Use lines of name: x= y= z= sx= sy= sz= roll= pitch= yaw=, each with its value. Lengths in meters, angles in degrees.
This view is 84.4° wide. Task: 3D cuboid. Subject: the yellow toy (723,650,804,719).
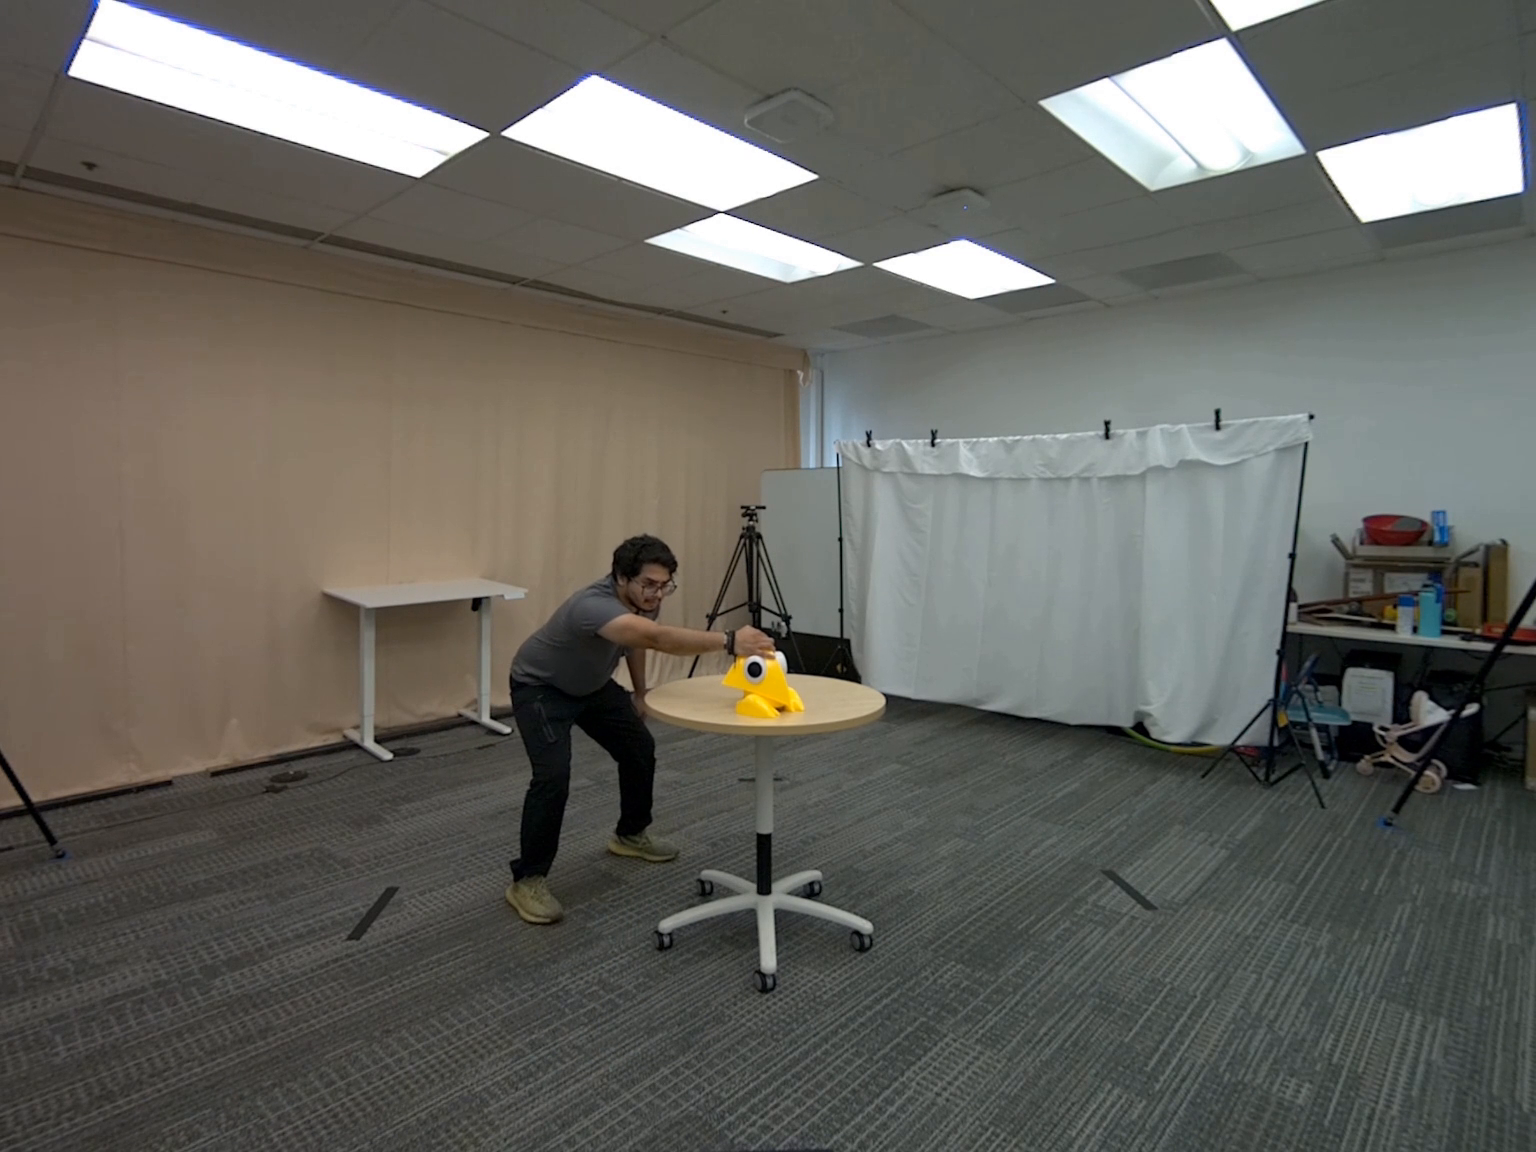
yellow toy: x=0.002 y=0.285 z=2.513 sx=0.199 sy=0.230 sz=0.198 roll=3 pitch=4 yaw=44
